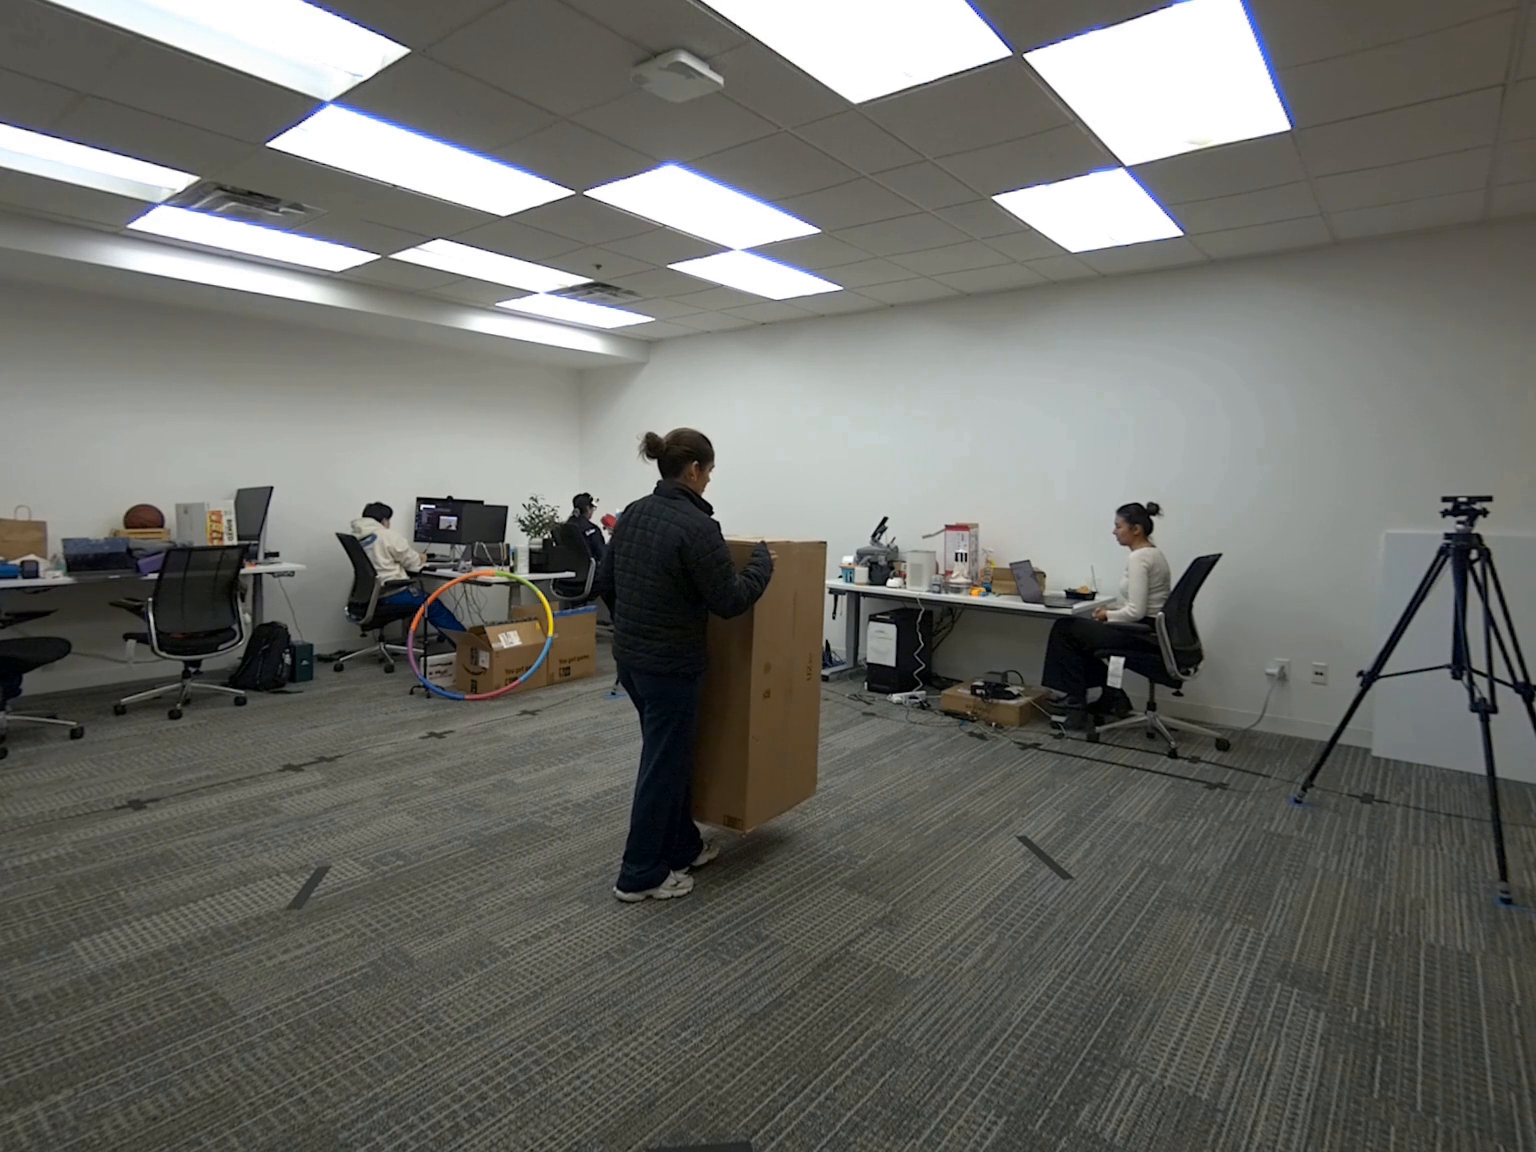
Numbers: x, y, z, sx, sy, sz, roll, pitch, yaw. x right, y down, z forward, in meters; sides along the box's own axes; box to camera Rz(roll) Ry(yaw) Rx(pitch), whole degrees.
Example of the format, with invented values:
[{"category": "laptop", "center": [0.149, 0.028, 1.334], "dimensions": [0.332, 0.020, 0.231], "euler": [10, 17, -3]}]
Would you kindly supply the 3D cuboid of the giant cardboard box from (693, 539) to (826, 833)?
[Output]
[{"category": "giant cardboard box", "center": [-0.082, 0.368, 3.308], "dimensions": [0.439, 1.024, 0.561], "euler": [3, 3, 32]}]
